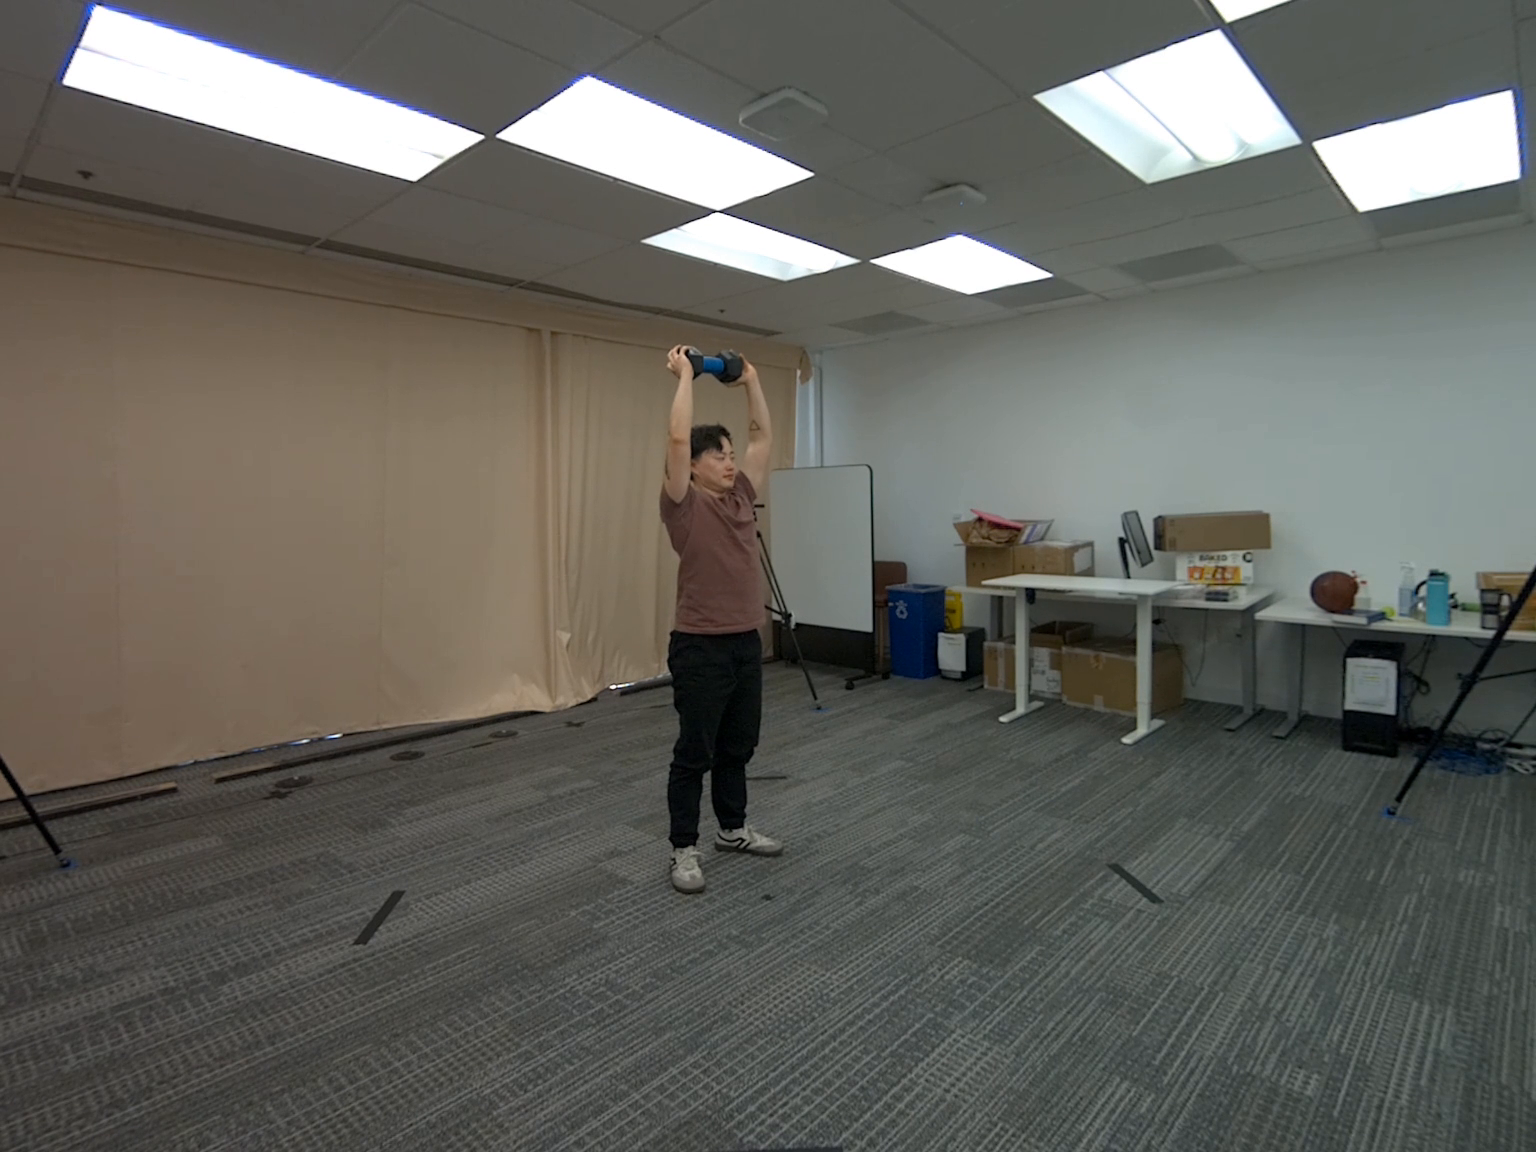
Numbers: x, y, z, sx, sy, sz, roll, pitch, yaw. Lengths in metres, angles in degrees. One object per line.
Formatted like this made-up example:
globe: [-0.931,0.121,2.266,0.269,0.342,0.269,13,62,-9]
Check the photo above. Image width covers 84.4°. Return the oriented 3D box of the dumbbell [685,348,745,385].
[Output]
dumbbell: [-0.219,-0.795,3.162,0.285,0.108,0.127,-10,47,-47]
